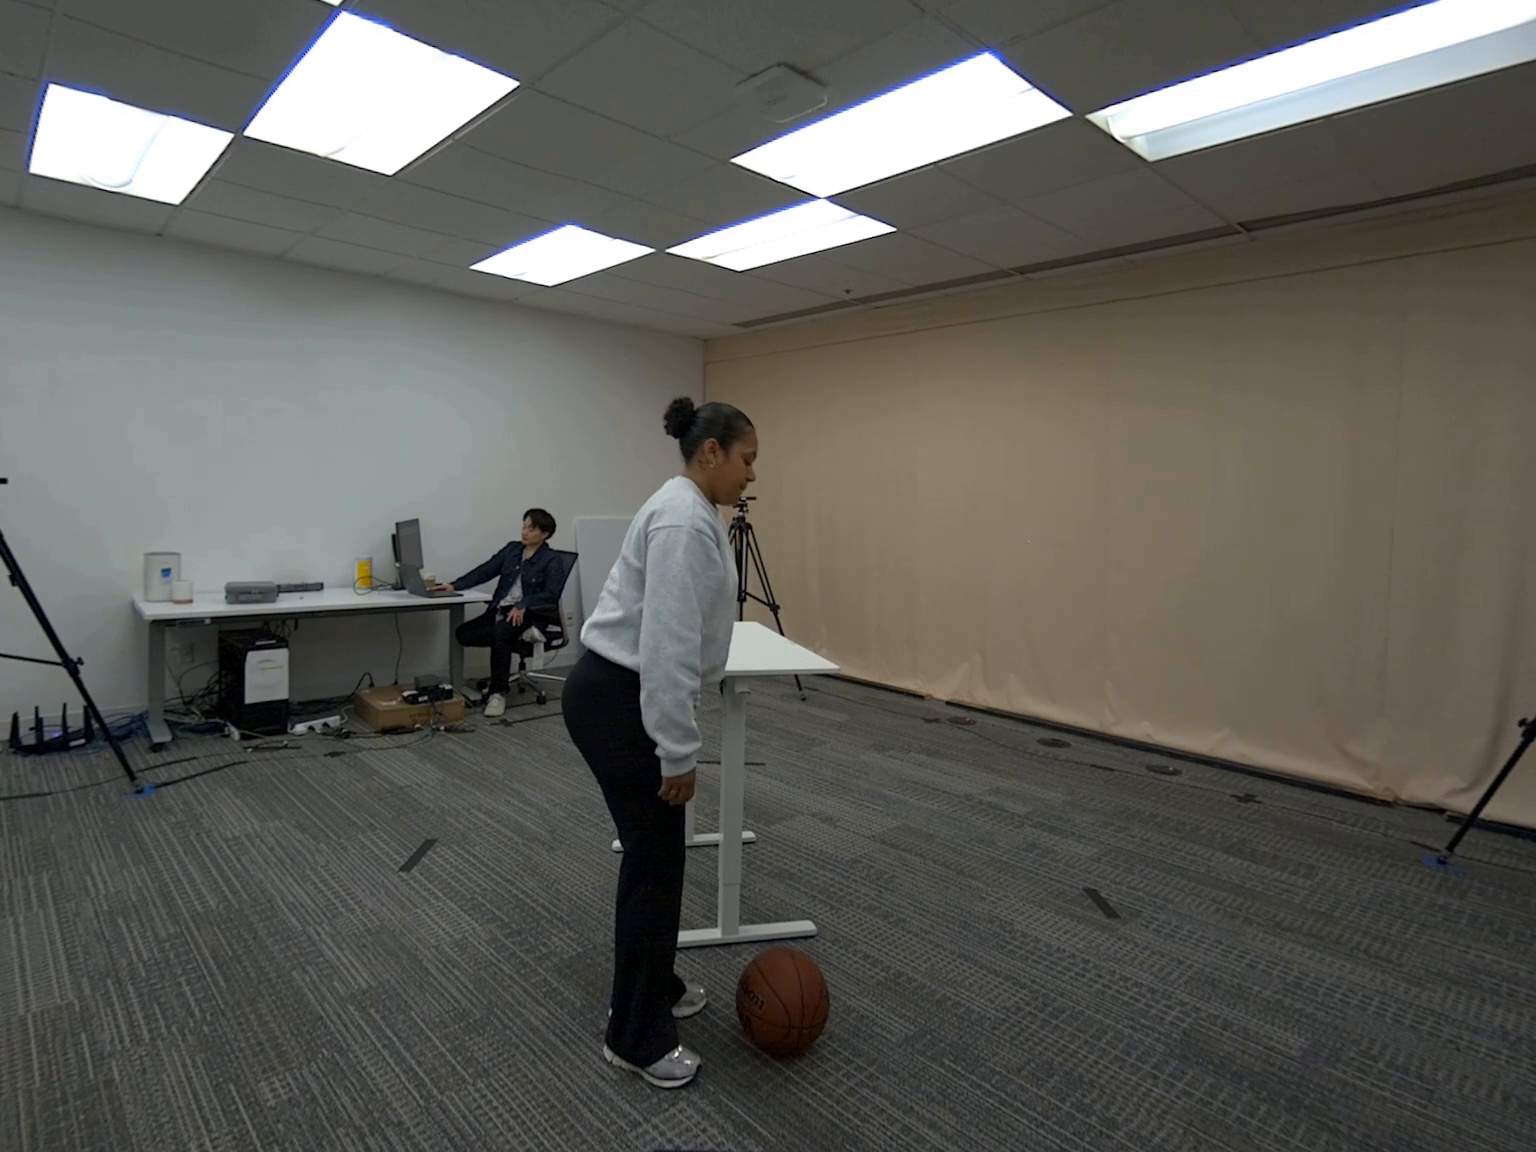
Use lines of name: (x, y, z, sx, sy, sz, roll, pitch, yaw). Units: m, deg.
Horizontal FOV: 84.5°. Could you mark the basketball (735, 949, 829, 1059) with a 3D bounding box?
basketball: (0.031, 1.080, 2.138, 0.236, 0.235, 0.237, 1, 4, -1)
